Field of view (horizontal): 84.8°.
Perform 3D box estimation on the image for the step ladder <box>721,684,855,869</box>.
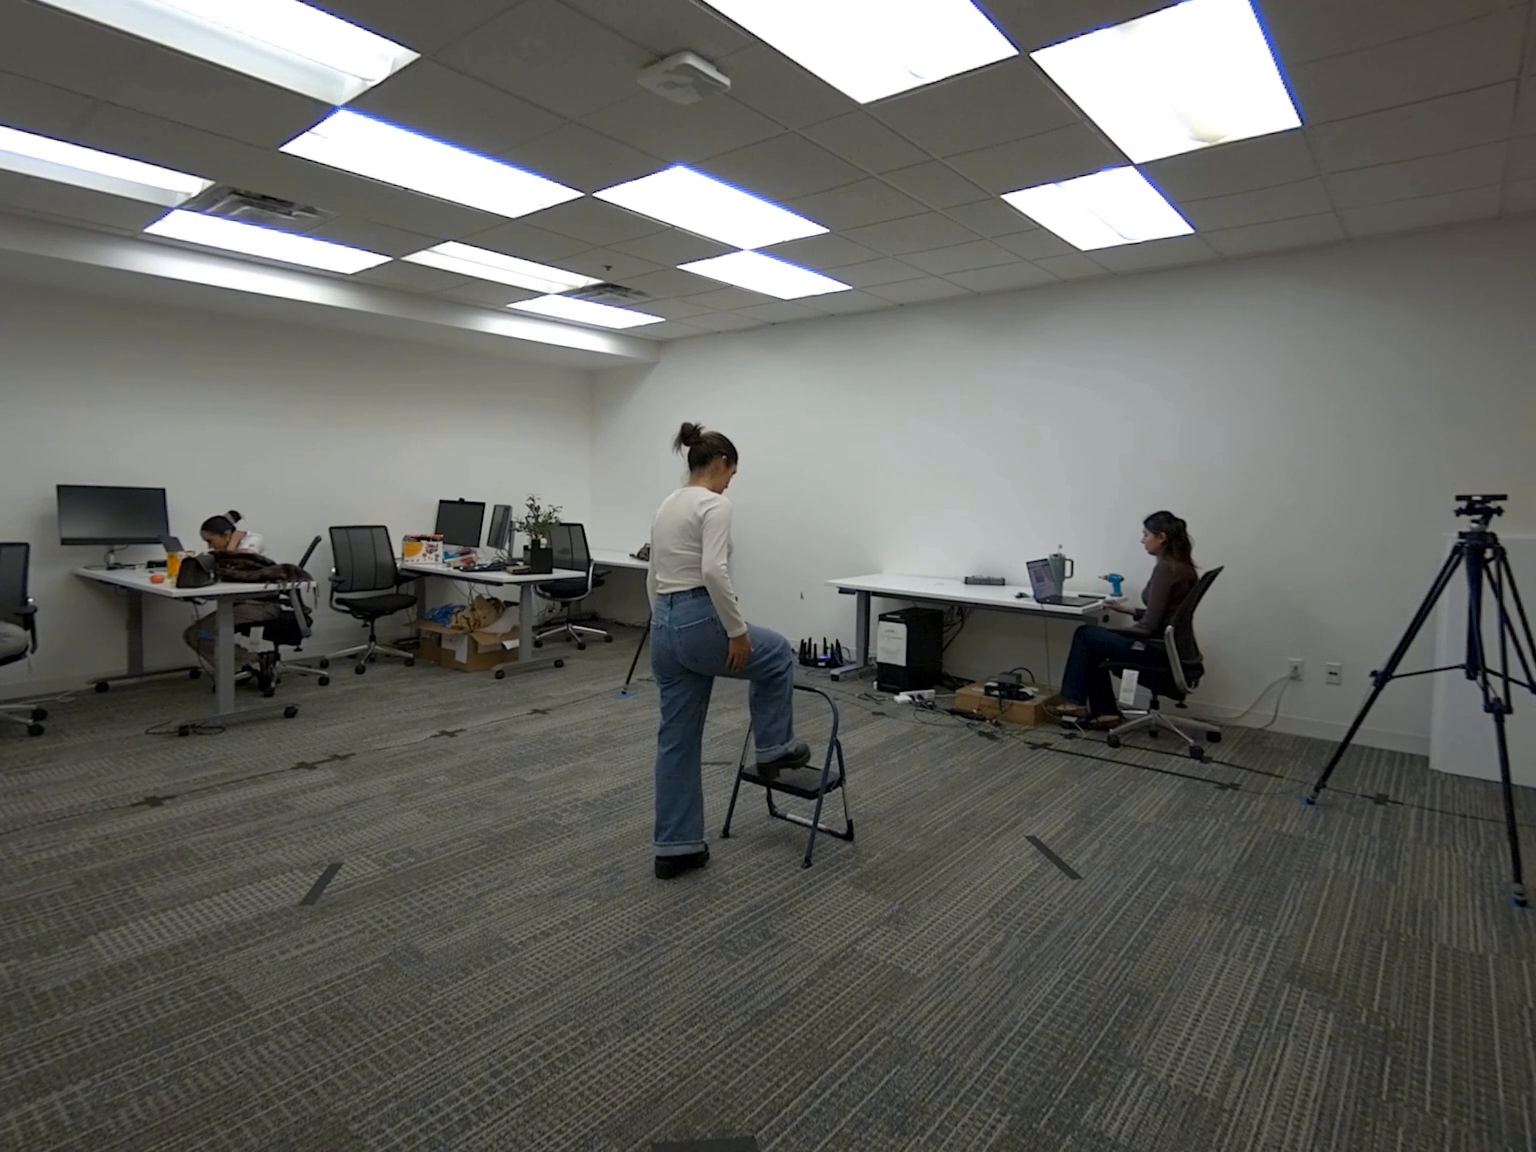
[{"bbox_3d":[0.075,0.739,3.373,0.445,0.604,0.339,4,5,38],"label":"step ladder"}]
